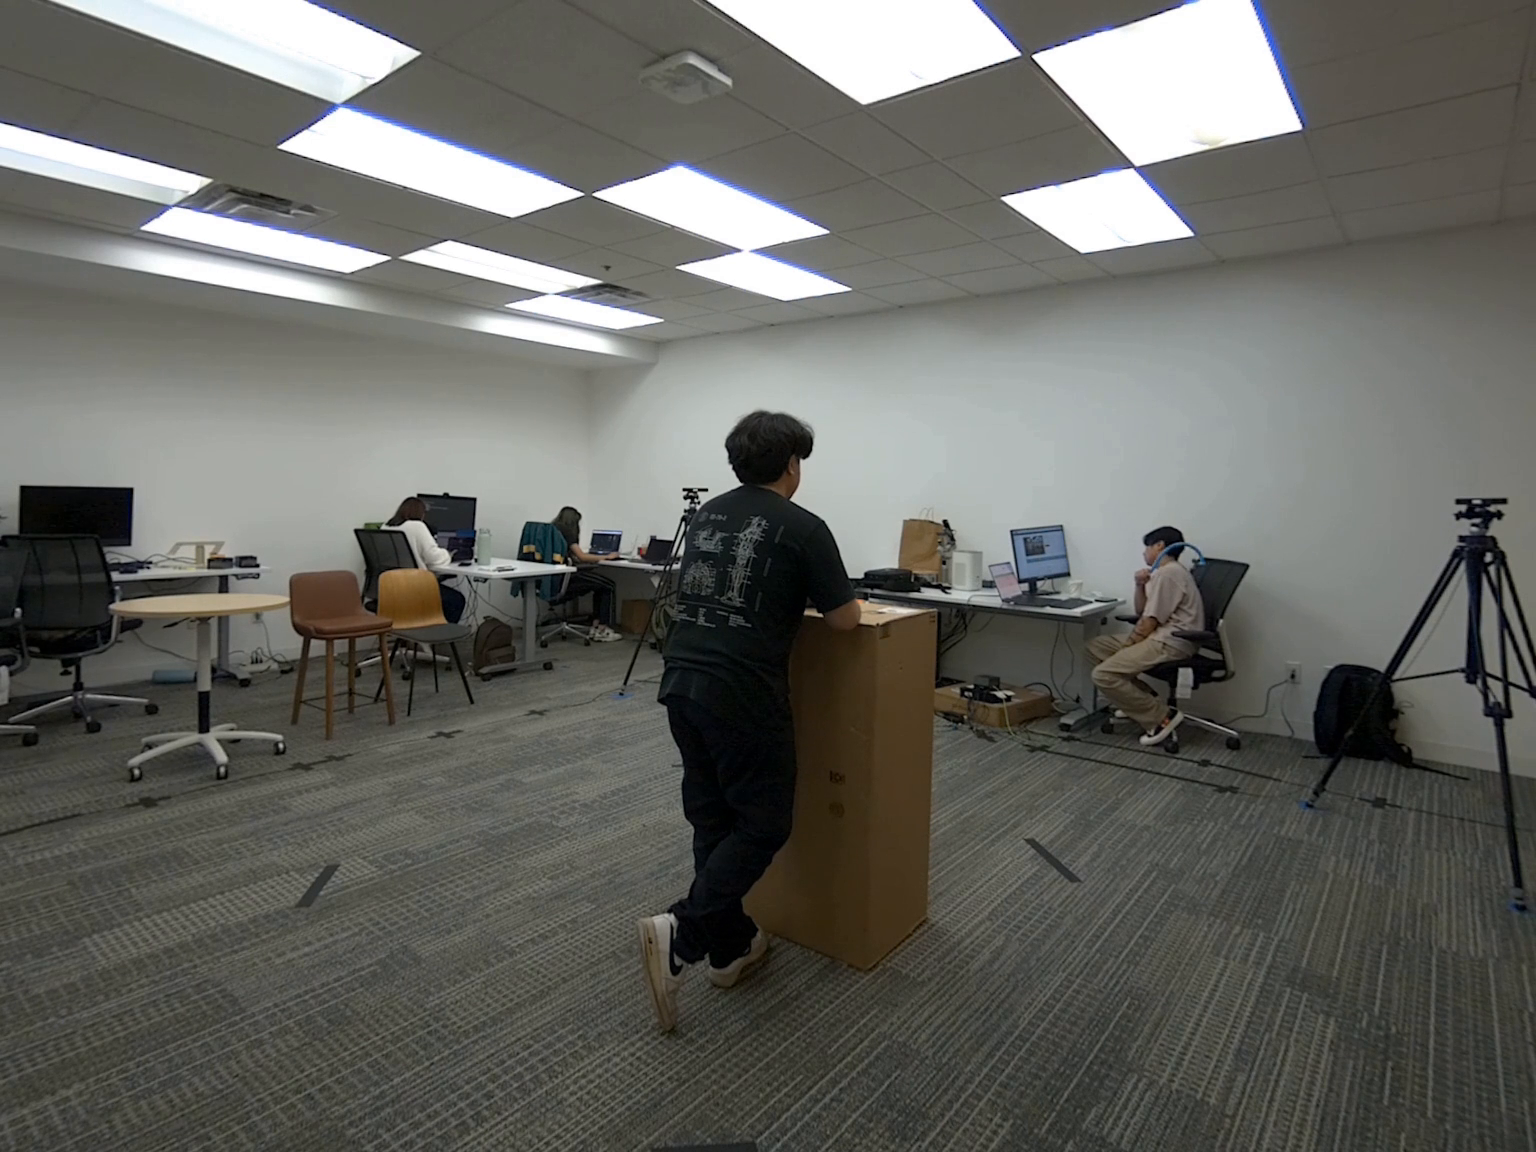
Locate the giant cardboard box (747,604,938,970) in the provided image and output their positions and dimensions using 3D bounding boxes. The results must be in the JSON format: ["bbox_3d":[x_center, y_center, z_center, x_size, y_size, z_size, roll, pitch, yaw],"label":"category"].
[{"bbox_3d":[0.180,0.600,2.782,0.603,1.024,0.433,4,4,37],"label":"giant cardboard box"}]
